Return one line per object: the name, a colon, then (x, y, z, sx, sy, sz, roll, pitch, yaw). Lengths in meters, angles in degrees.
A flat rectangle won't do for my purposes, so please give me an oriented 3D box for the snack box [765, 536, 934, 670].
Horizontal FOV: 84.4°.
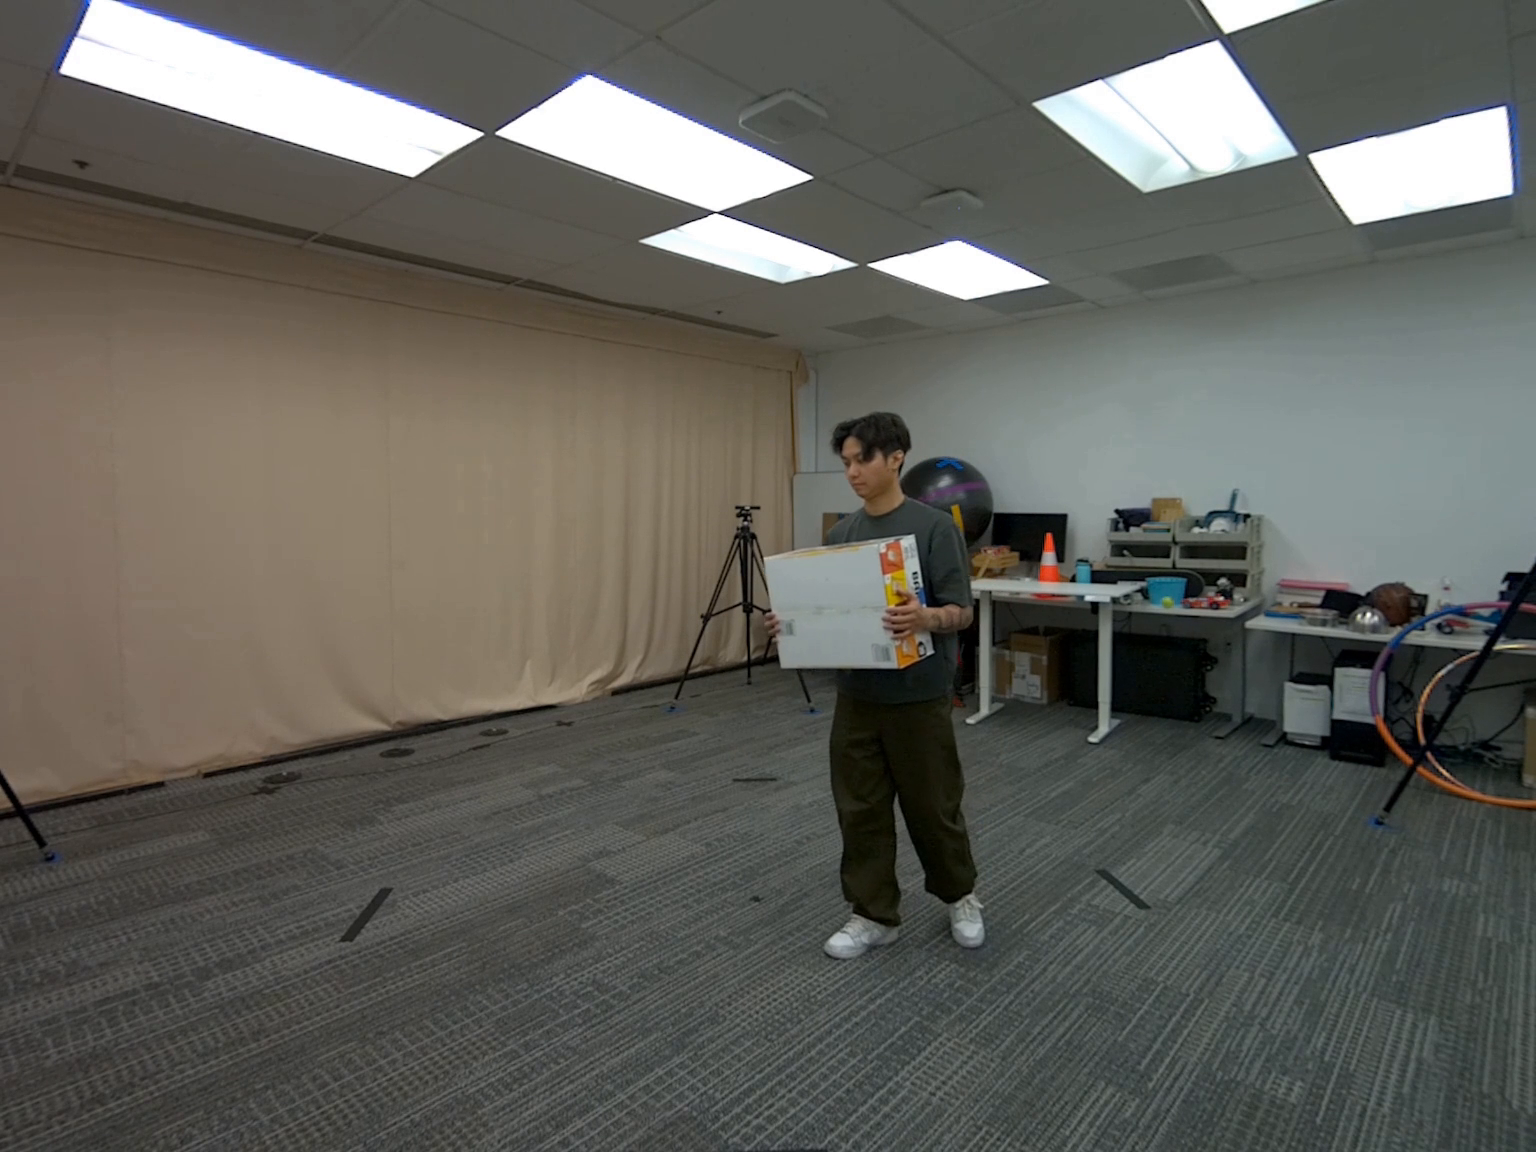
snack box: (0.229, 0.088, 2.448, 0.417, 0.340, 0.200, -6, 3, 42)
